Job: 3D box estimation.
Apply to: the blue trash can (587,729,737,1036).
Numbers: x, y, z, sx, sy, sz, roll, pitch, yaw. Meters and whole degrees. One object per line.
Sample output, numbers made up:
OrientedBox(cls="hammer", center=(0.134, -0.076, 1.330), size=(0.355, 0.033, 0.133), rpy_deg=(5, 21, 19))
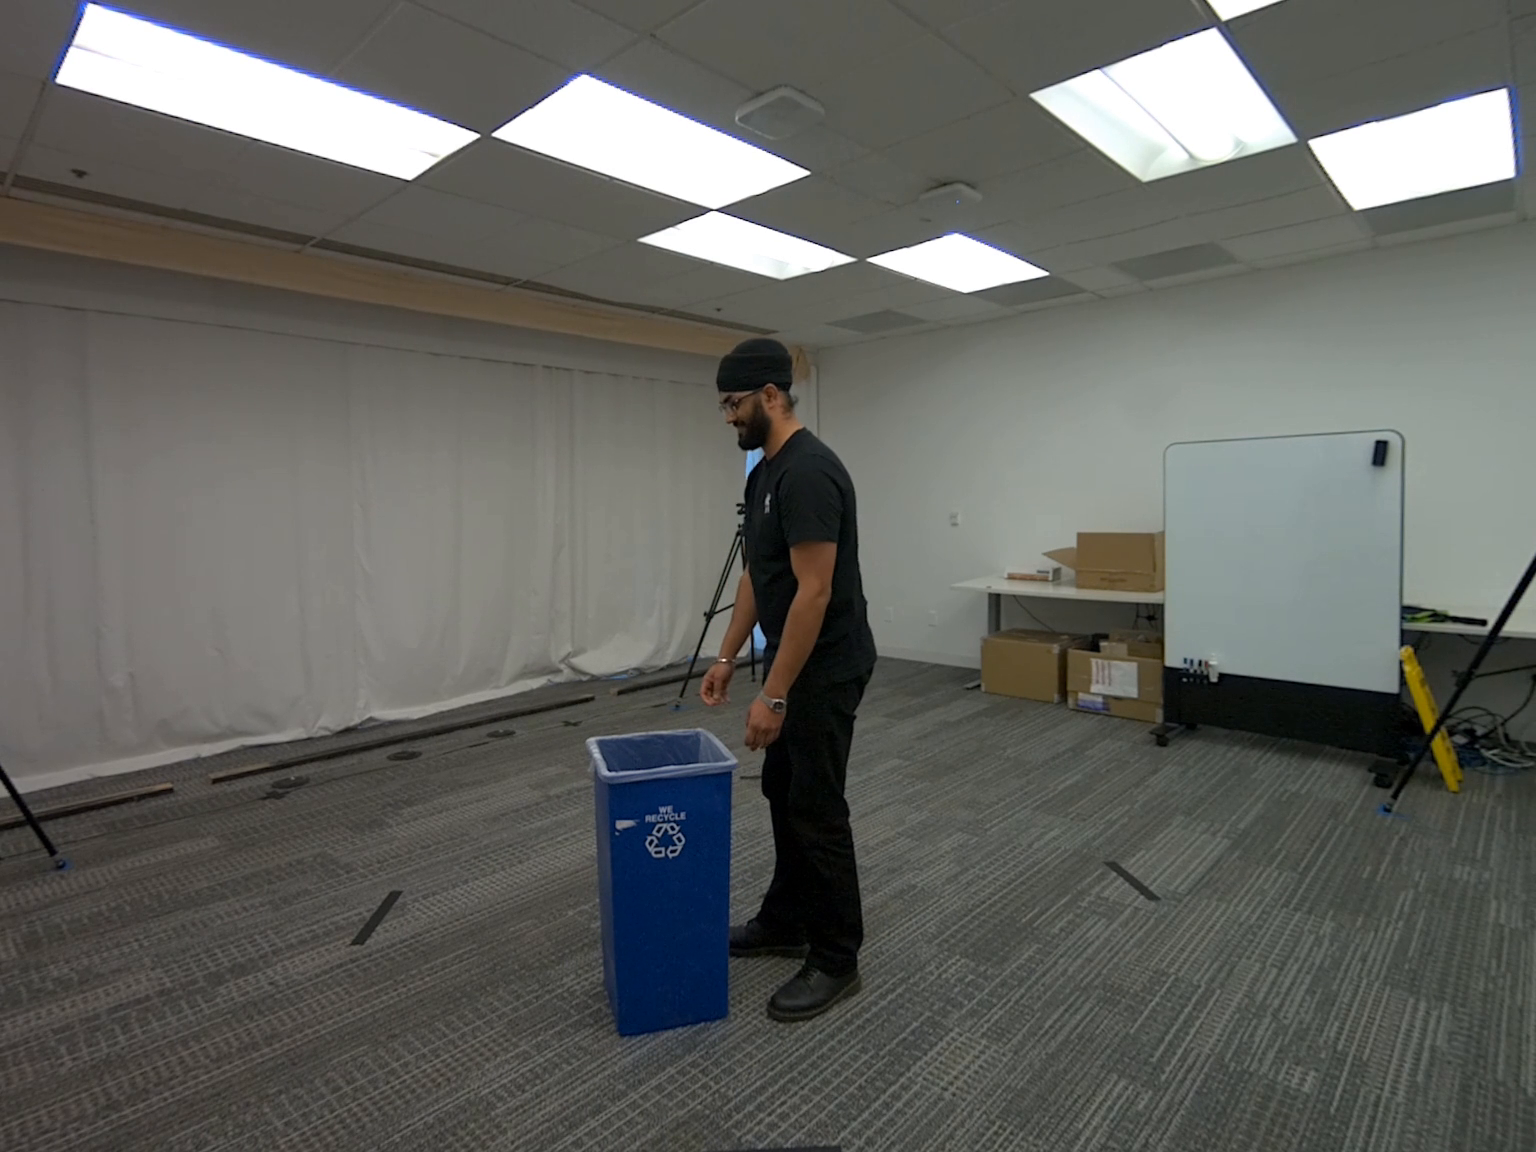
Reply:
OrientedBox(cls="blue trash can", center=(-0.291, 0.841, 2.371), size=(0.367, 0.712, 0.386), rpy_deg=(-2, 3, -18))
